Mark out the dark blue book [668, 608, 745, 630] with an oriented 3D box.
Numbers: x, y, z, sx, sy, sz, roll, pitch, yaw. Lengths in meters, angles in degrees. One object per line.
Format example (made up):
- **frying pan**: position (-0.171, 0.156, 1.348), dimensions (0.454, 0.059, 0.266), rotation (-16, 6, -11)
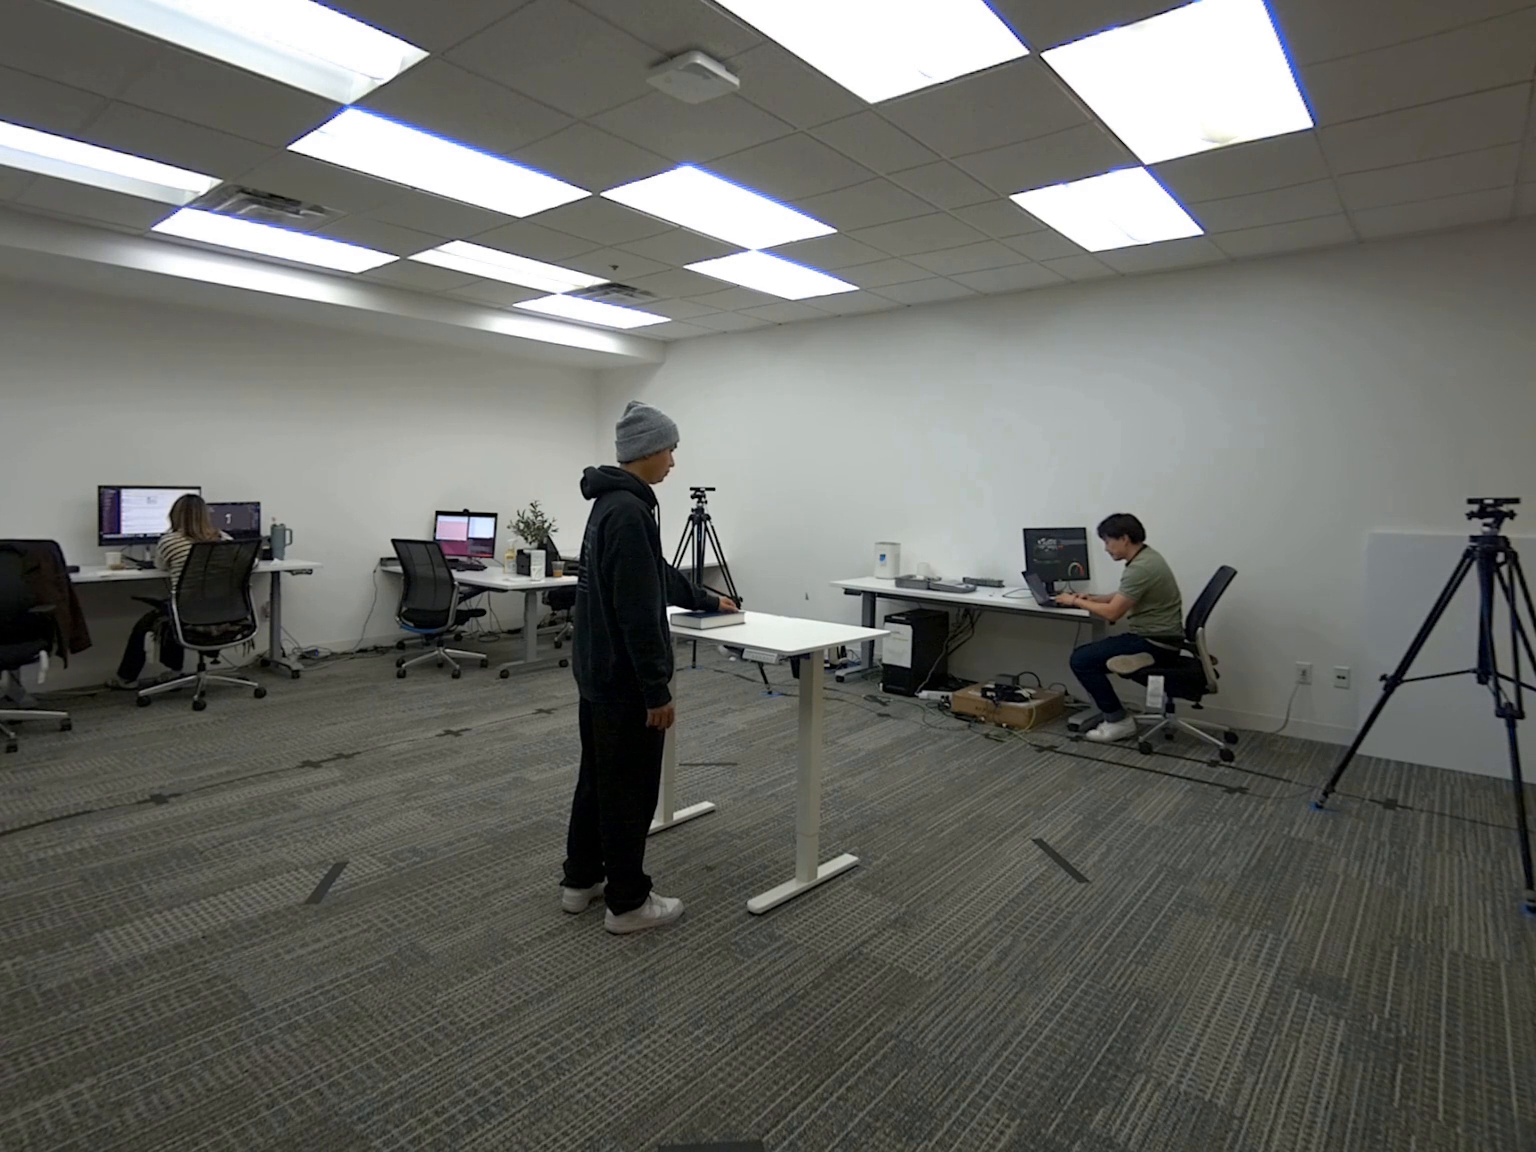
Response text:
- **dark blue book**: position (-0.233, 0.158, 3.150), dimensions (0.169, 0.045, 0.238), rotation (4, 5, 41)
